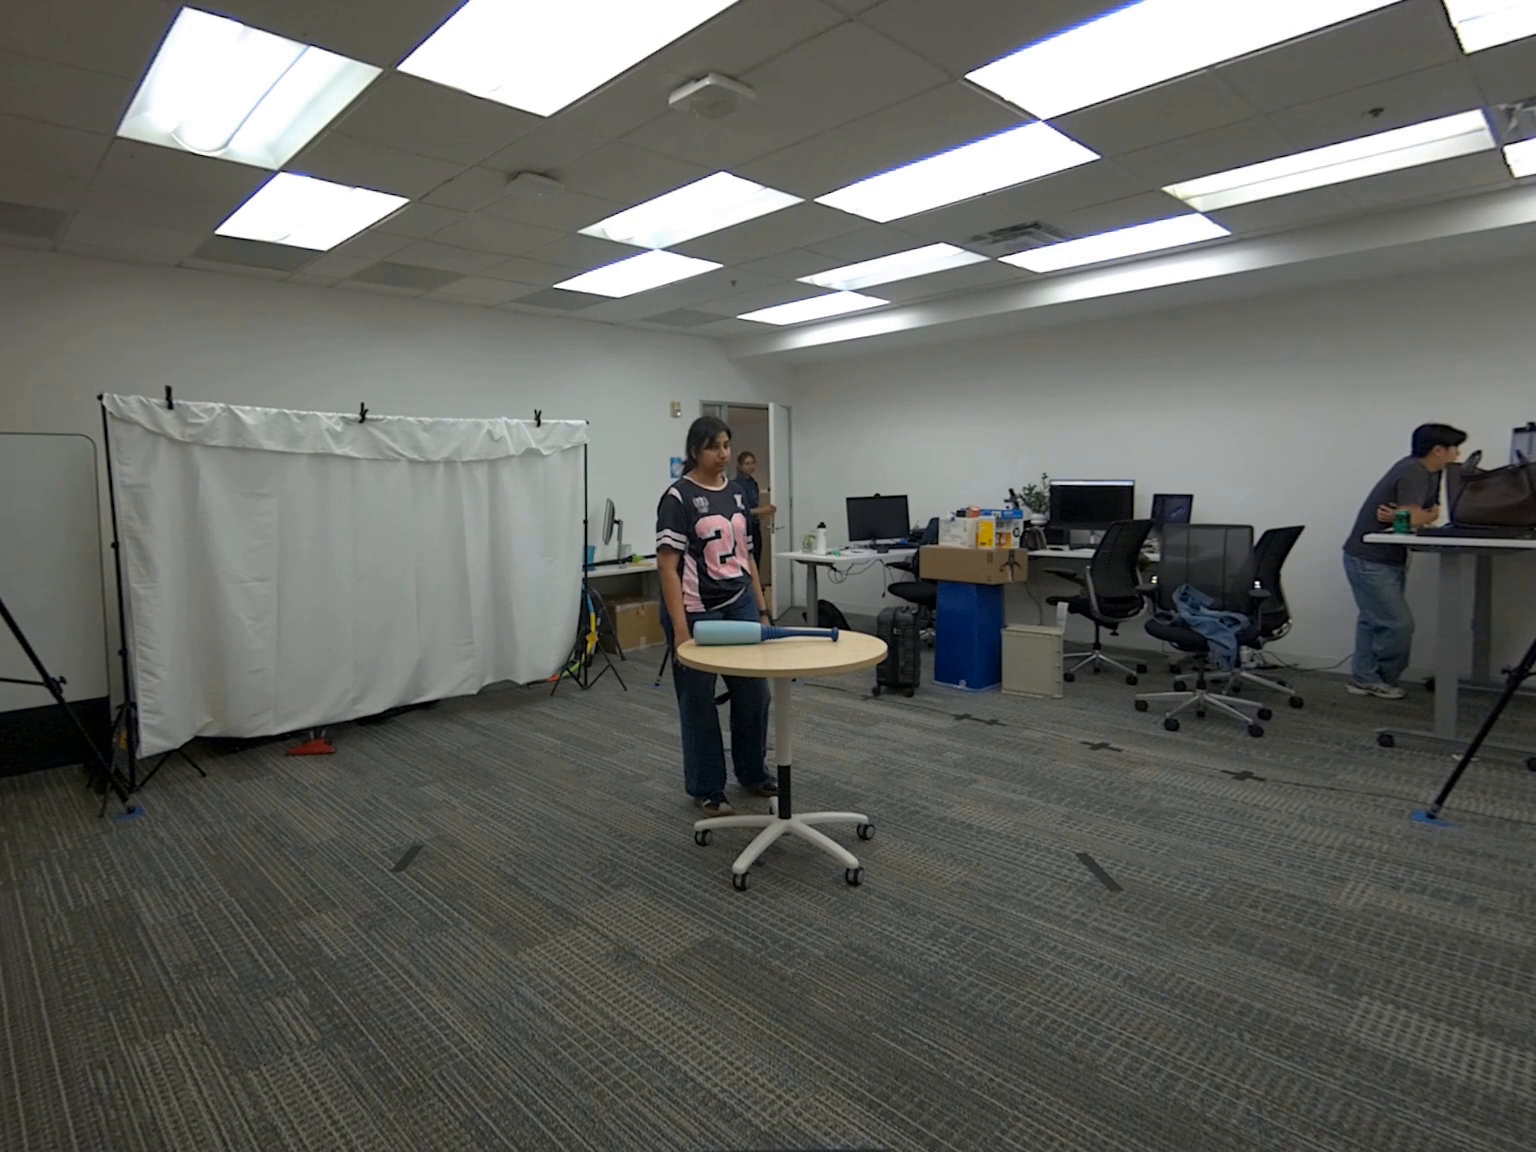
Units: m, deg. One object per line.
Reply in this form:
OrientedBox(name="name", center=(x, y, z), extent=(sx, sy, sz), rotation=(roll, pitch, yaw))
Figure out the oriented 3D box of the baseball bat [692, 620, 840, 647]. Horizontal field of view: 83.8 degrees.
OrientedBox(name="baseball bat", center=(-0.004, 0.216, 3.197), extent=(0.542, 0.089, 0.089), rotation=(0, 5, -2))
